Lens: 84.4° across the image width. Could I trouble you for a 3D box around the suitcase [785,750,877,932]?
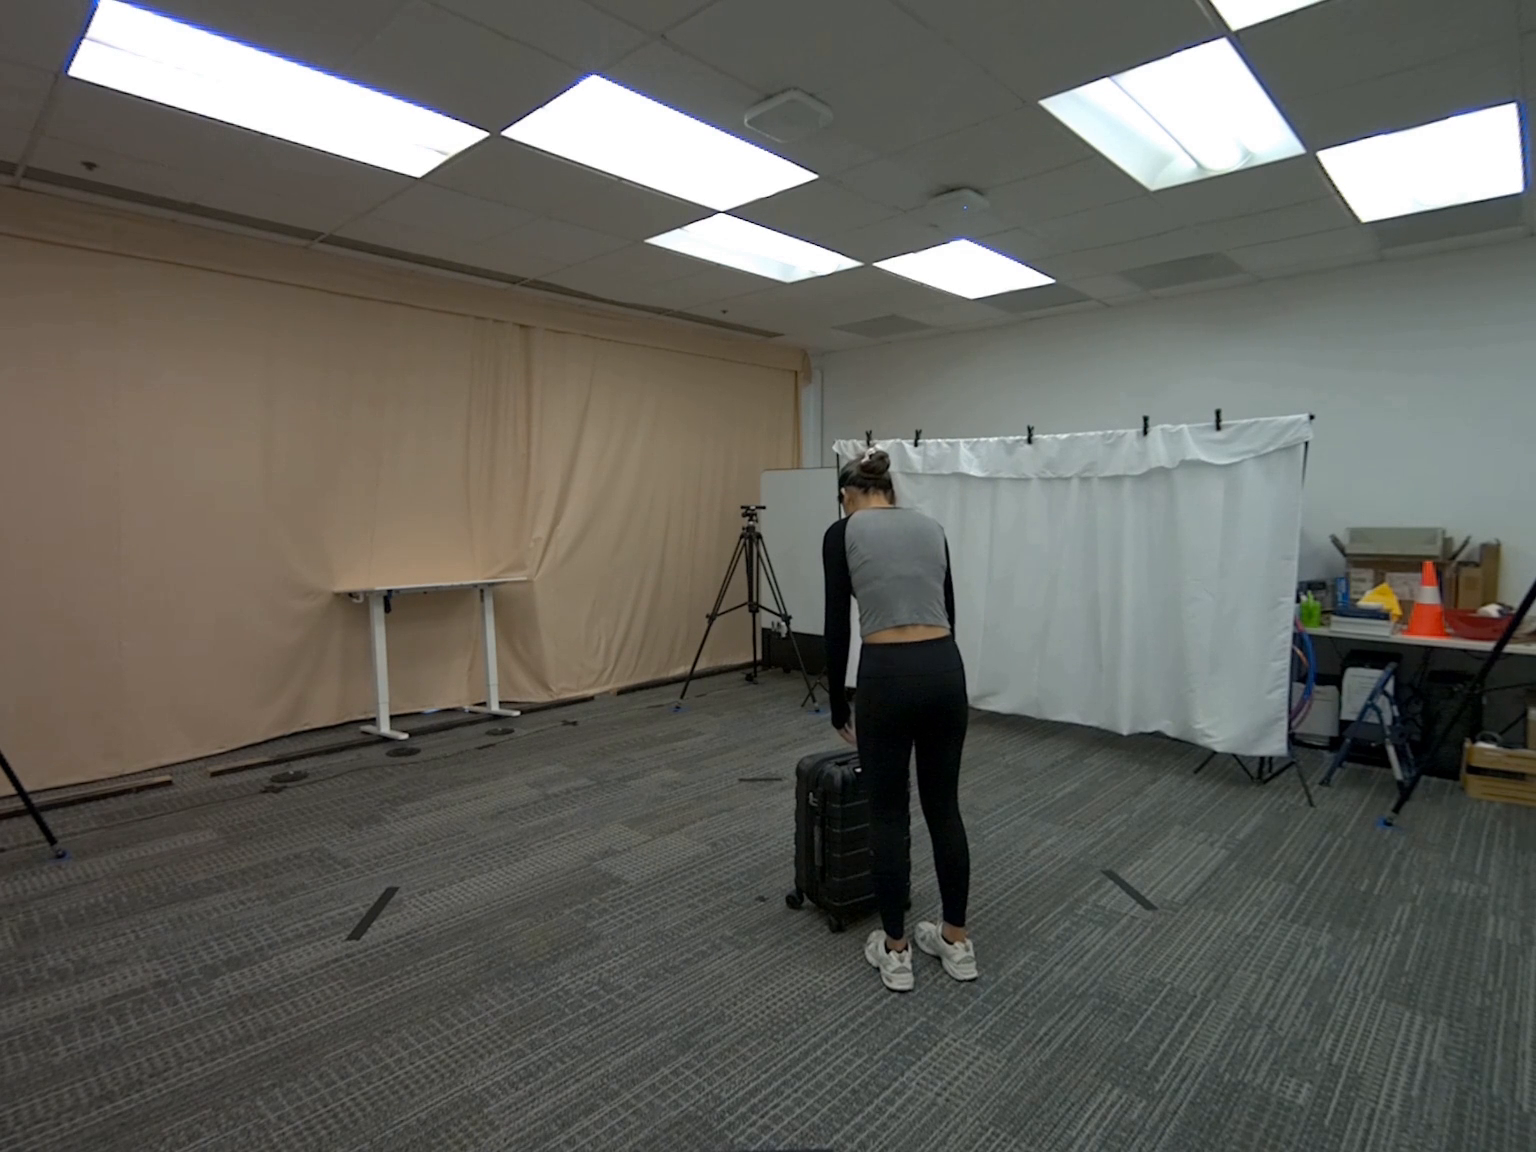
[{"bbox_3d":[0.289,0.871,2.882,0.365,0.548,0.255,-3,4,-31],"label":"suitcase"}]
